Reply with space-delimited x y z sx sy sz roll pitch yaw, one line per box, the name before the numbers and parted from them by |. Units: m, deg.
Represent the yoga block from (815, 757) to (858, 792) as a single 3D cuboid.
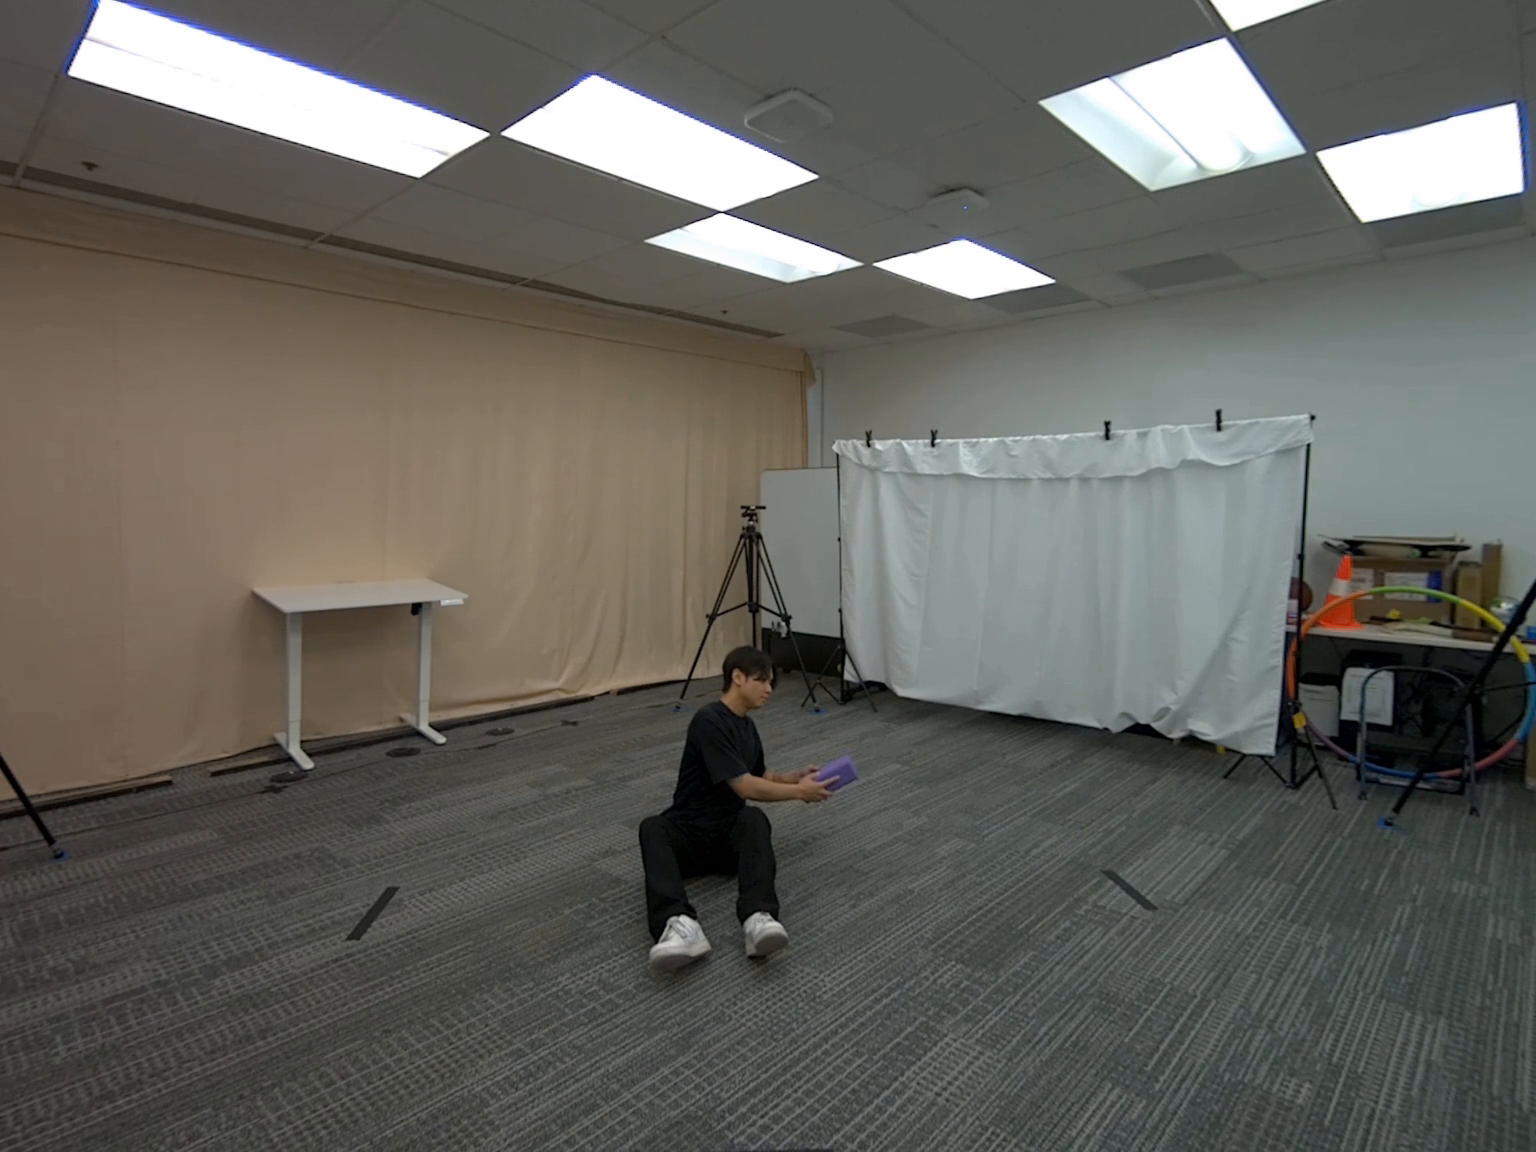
yoga block | 0.229 0.805 3.322 0.230 0.077 0.148 -25 -1 2
